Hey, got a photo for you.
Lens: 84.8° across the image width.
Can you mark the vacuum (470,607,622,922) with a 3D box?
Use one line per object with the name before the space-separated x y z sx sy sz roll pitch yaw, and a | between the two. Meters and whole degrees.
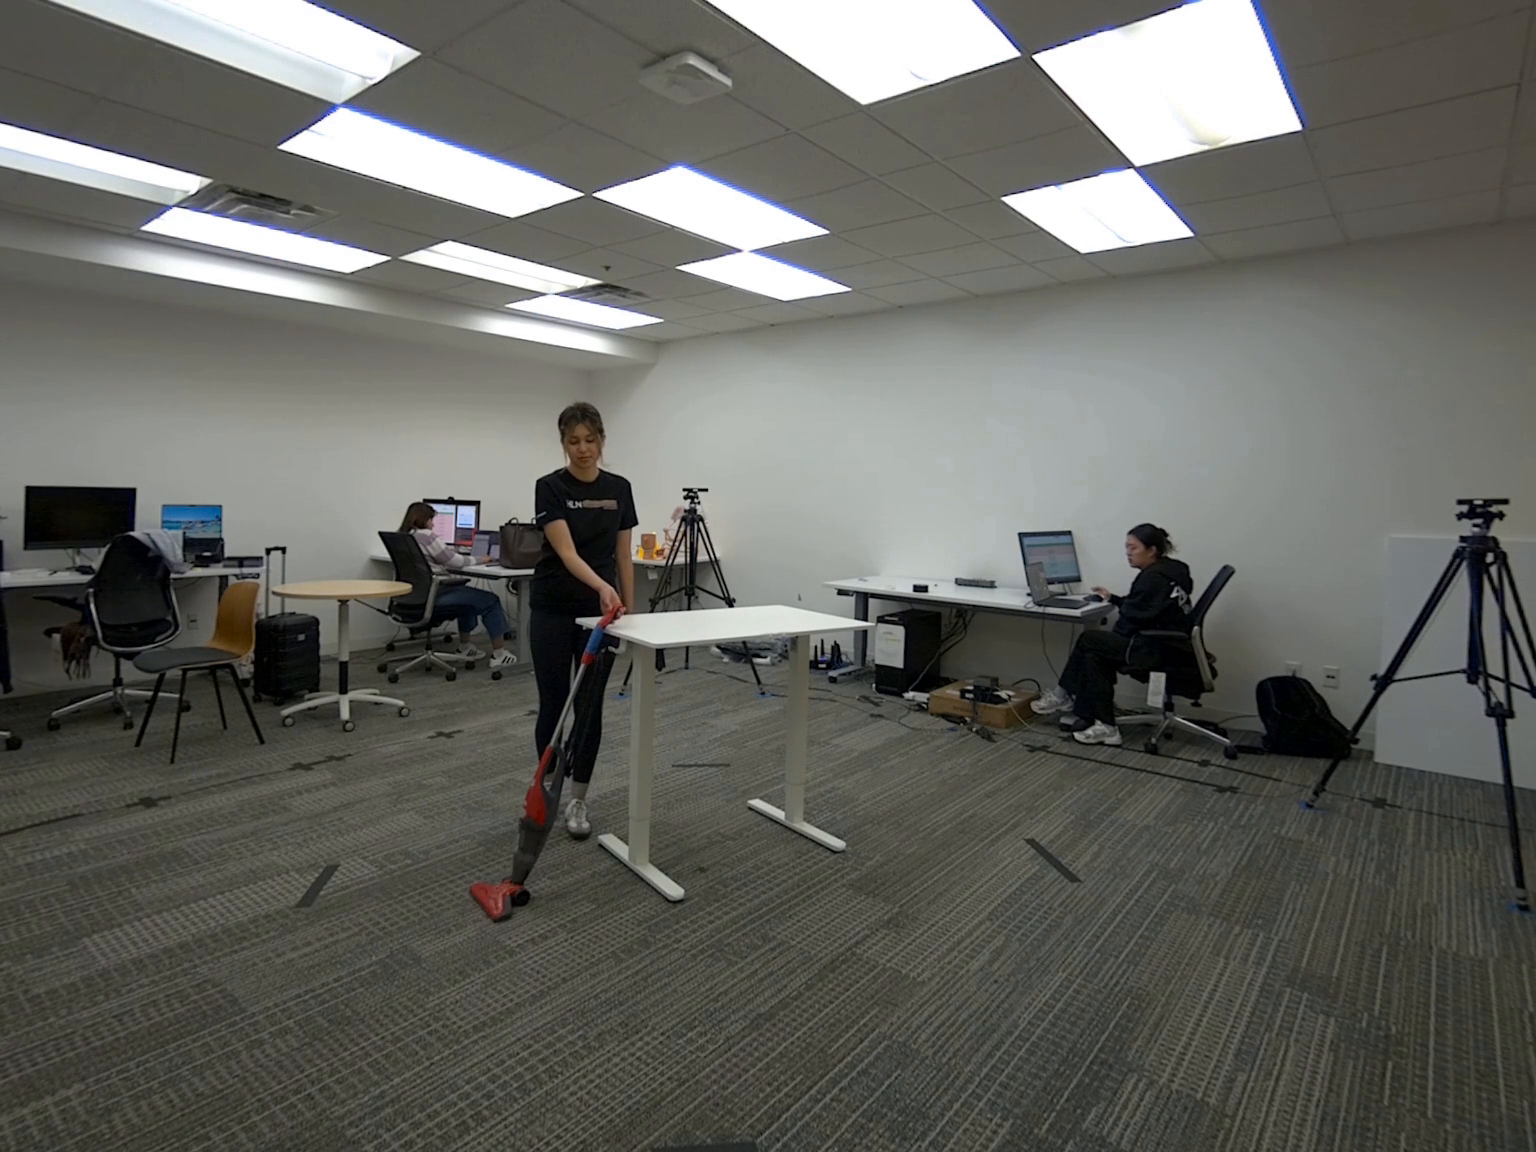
vacuum | -0.735 0.603 2.939 0.261 1.057 0.138 8 -16 38
